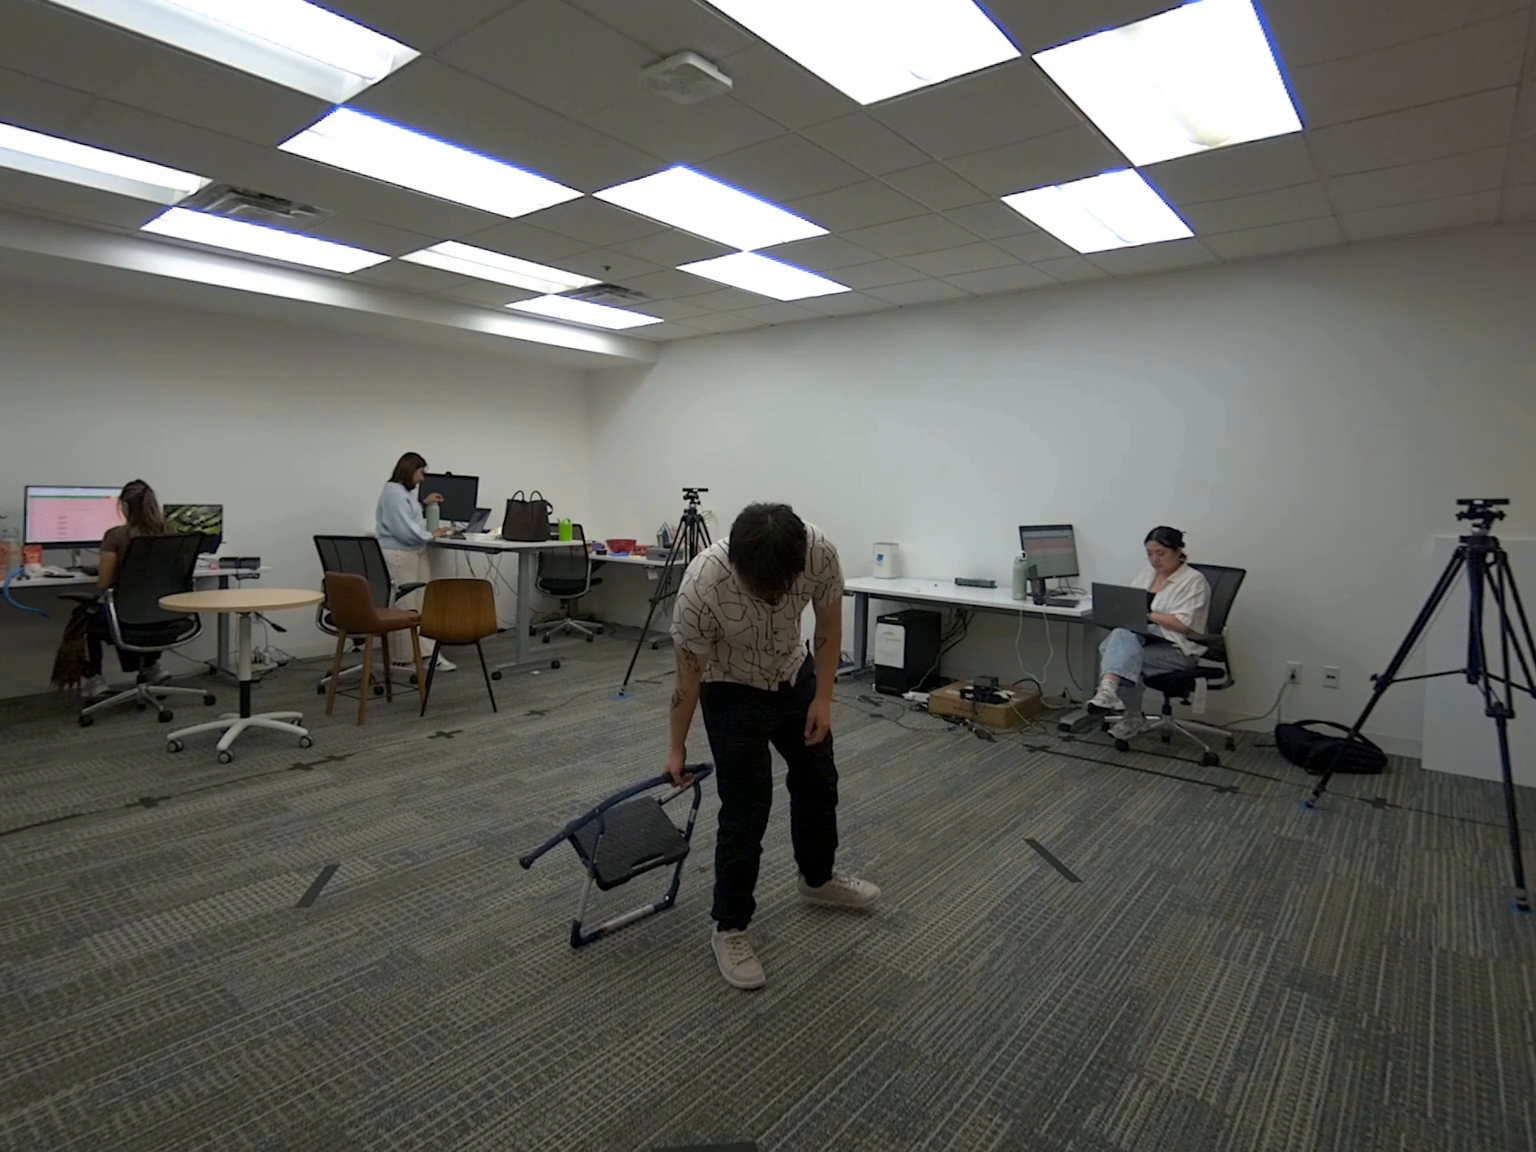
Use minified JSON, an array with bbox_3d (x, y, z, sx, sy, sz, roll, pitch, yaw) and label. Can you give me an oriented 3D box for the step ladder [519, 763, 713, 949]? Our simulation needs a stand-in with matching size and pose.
[{"bbox_3d":[-0.445,0.772,2.671,0.418,0.600,0.363,-5,40,-48],"label":"step ladder"}]
